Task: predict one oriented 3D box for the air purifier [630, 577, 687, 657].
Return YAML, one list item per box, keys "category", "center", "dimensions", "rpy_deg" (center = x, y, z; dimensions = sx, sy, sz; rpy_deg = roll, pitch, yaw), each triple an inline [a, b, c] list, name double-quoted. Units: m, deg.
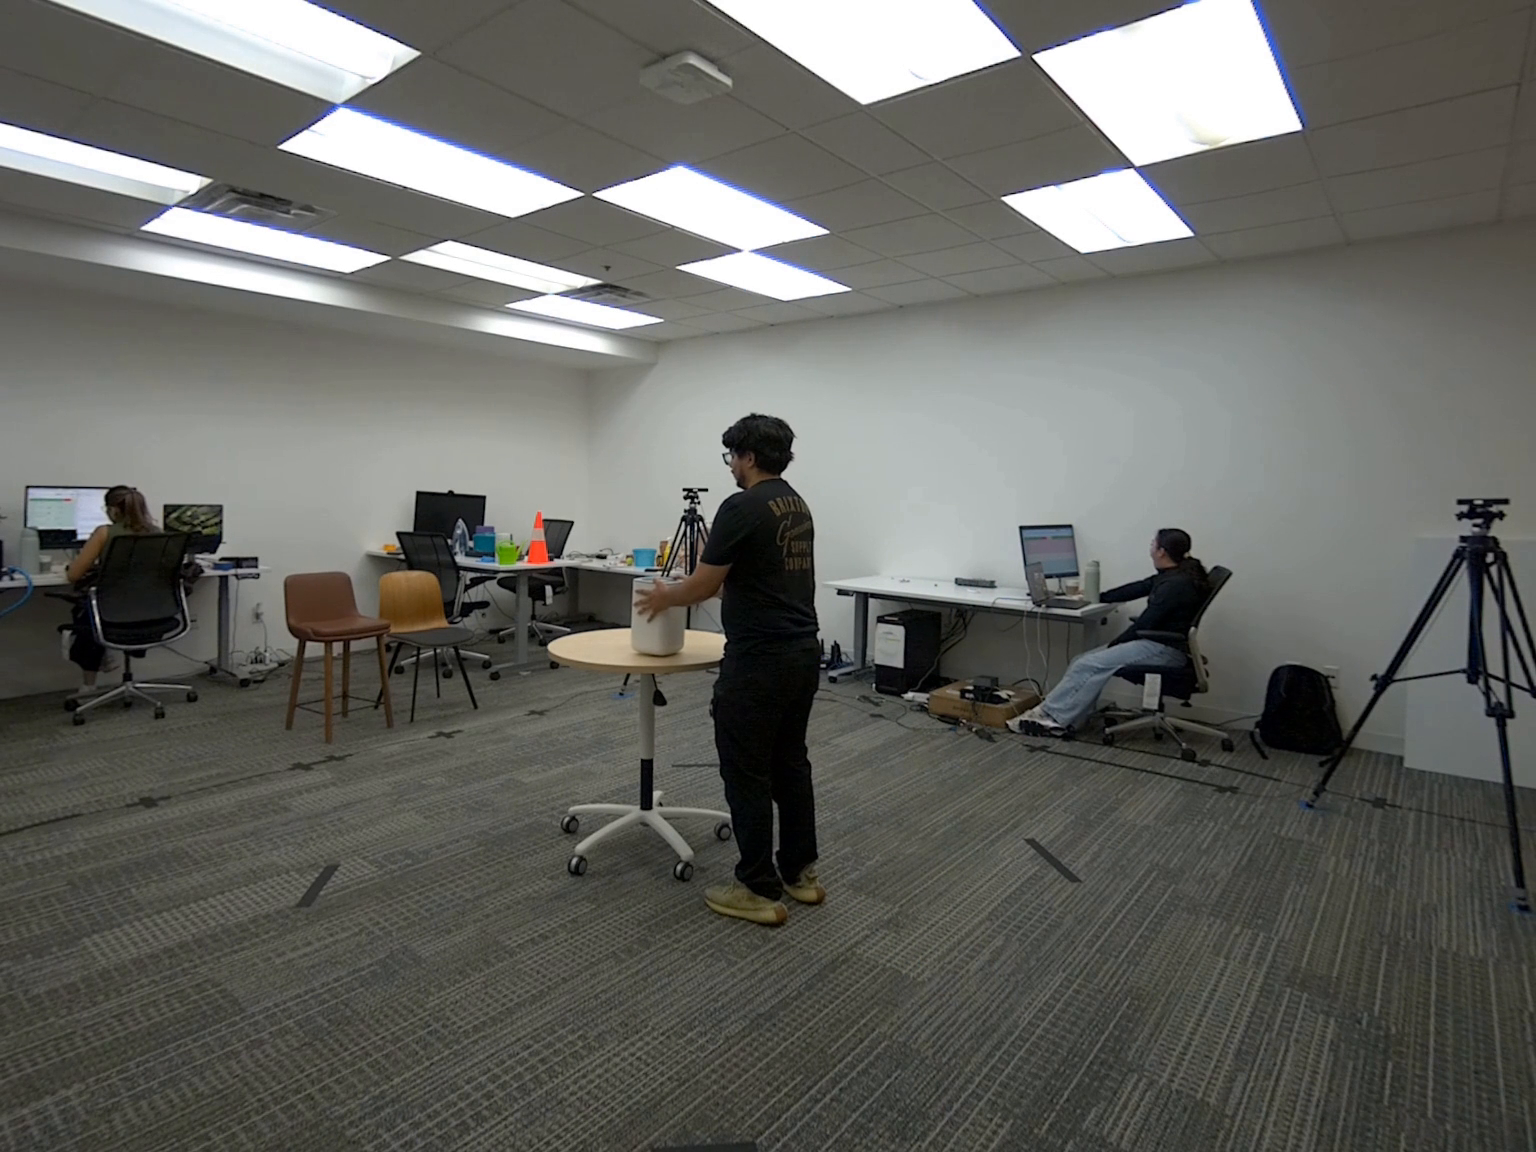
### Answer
- category: "air purifier"
  center: [-0.407, 0.144, 3.124]
  dimensions: [0.176, 0.265, 0.167]
  rpy_deg: [5, 3, 26]
